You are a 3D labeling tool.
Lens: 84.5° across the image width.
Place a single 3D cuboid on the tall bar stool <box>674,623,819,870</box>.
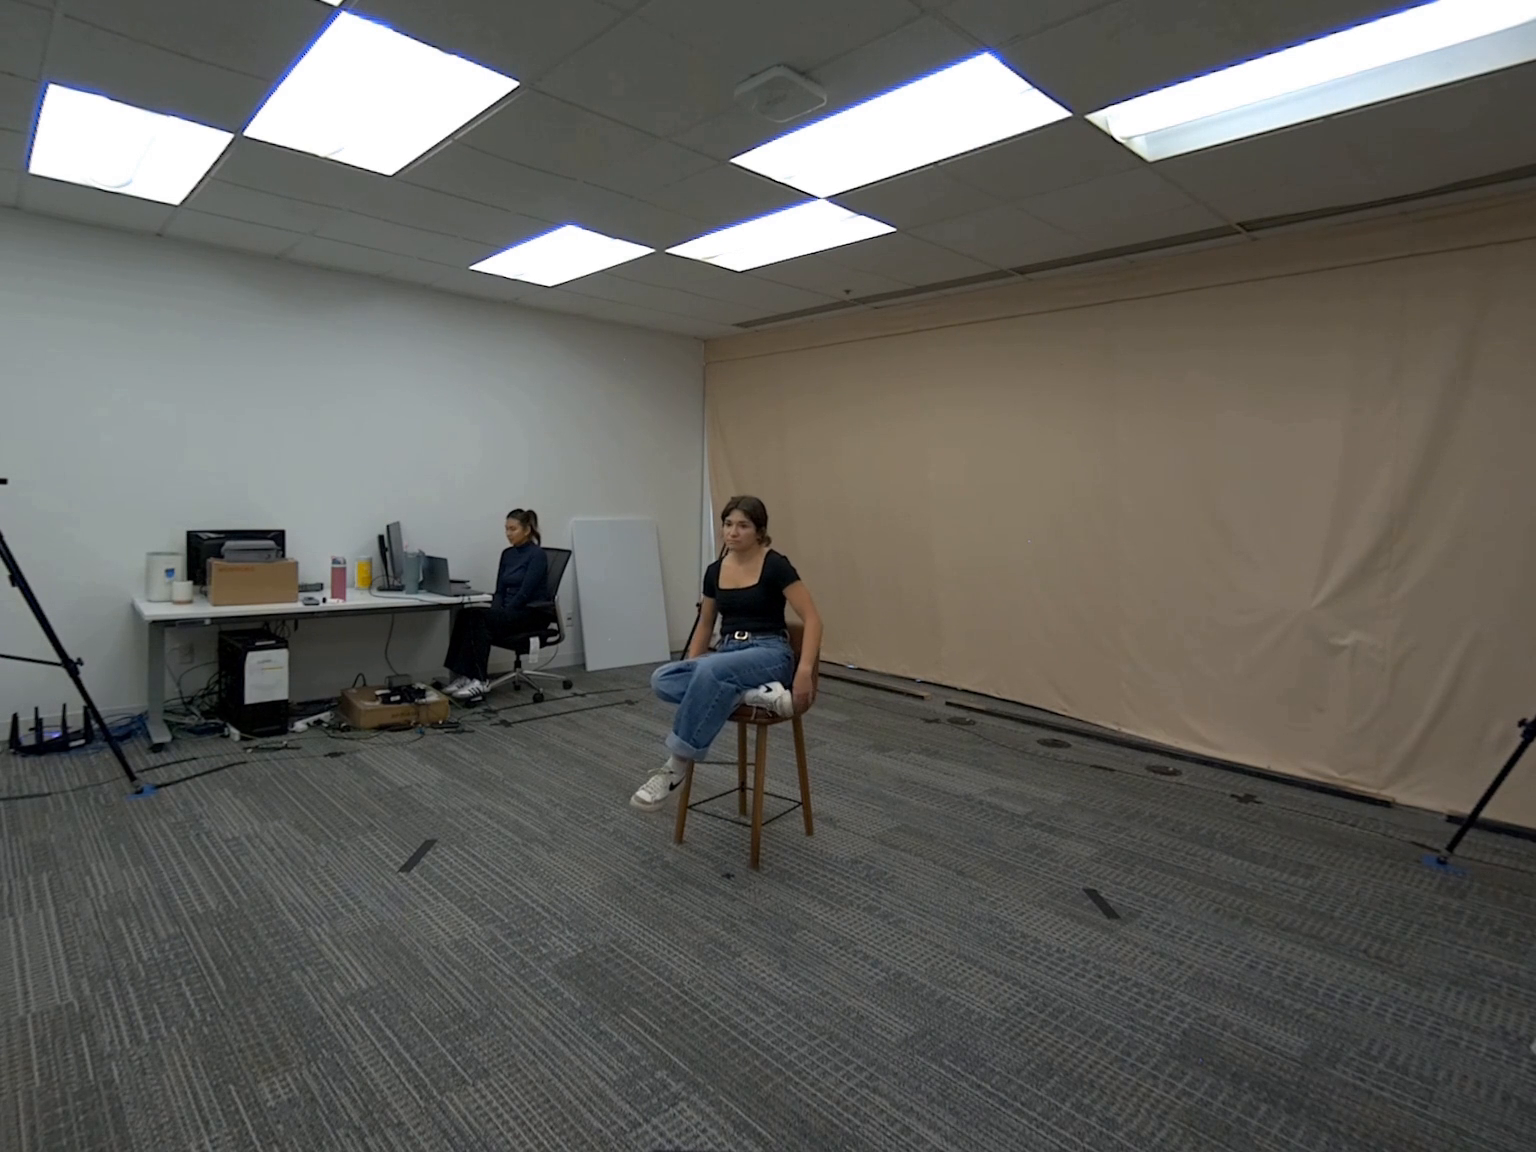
[{"bbox_3d":[-0.075,0.647,3.439,0.467,0.889,0.457,4,2,36],"label":"tall bar stool"}]
